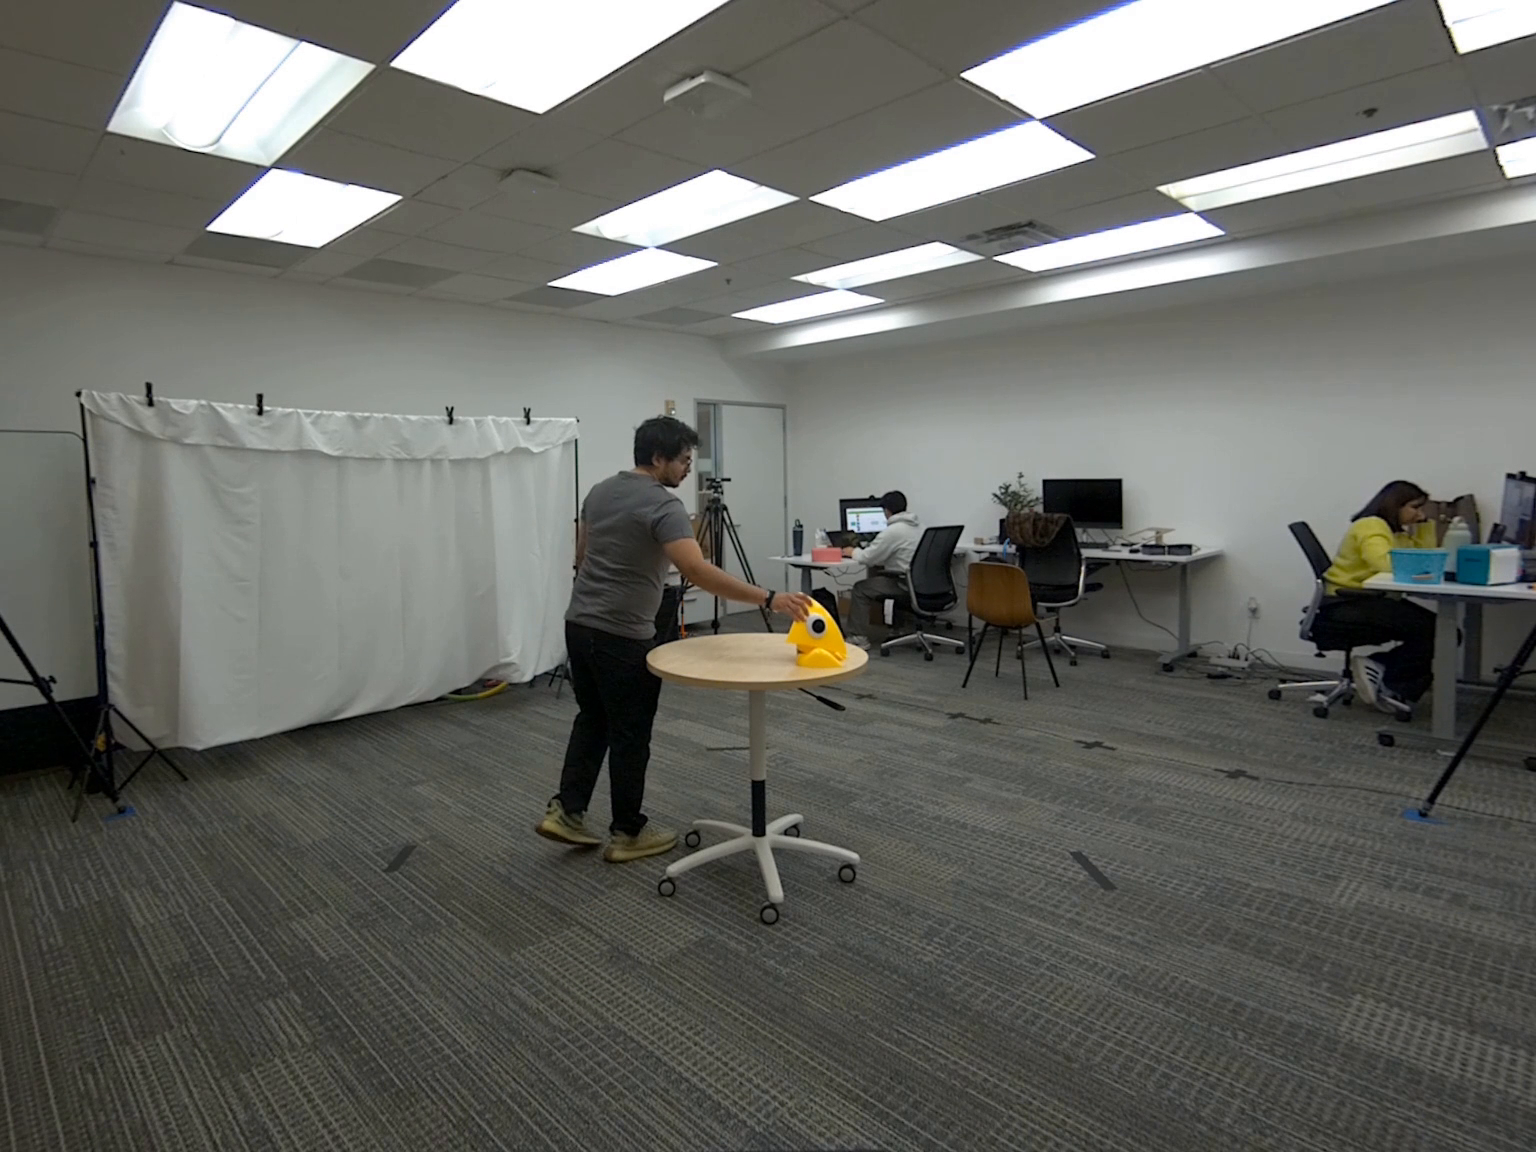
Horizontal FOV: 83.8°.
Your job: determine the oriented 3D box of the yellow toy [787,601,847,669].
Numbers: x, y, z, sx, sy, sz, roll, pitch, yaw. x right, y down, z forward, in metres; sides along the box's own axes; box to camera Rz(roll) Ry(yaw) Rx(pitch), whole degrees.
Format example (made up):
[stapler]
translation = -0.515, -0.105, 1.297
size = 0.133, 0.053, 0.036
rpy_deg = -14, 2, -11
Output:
[yellow toy]
translation = 0.168, 0.170, 2.857
size = 0.196, 0.230, 0.202
rpy_deg = -1, 5, 15
